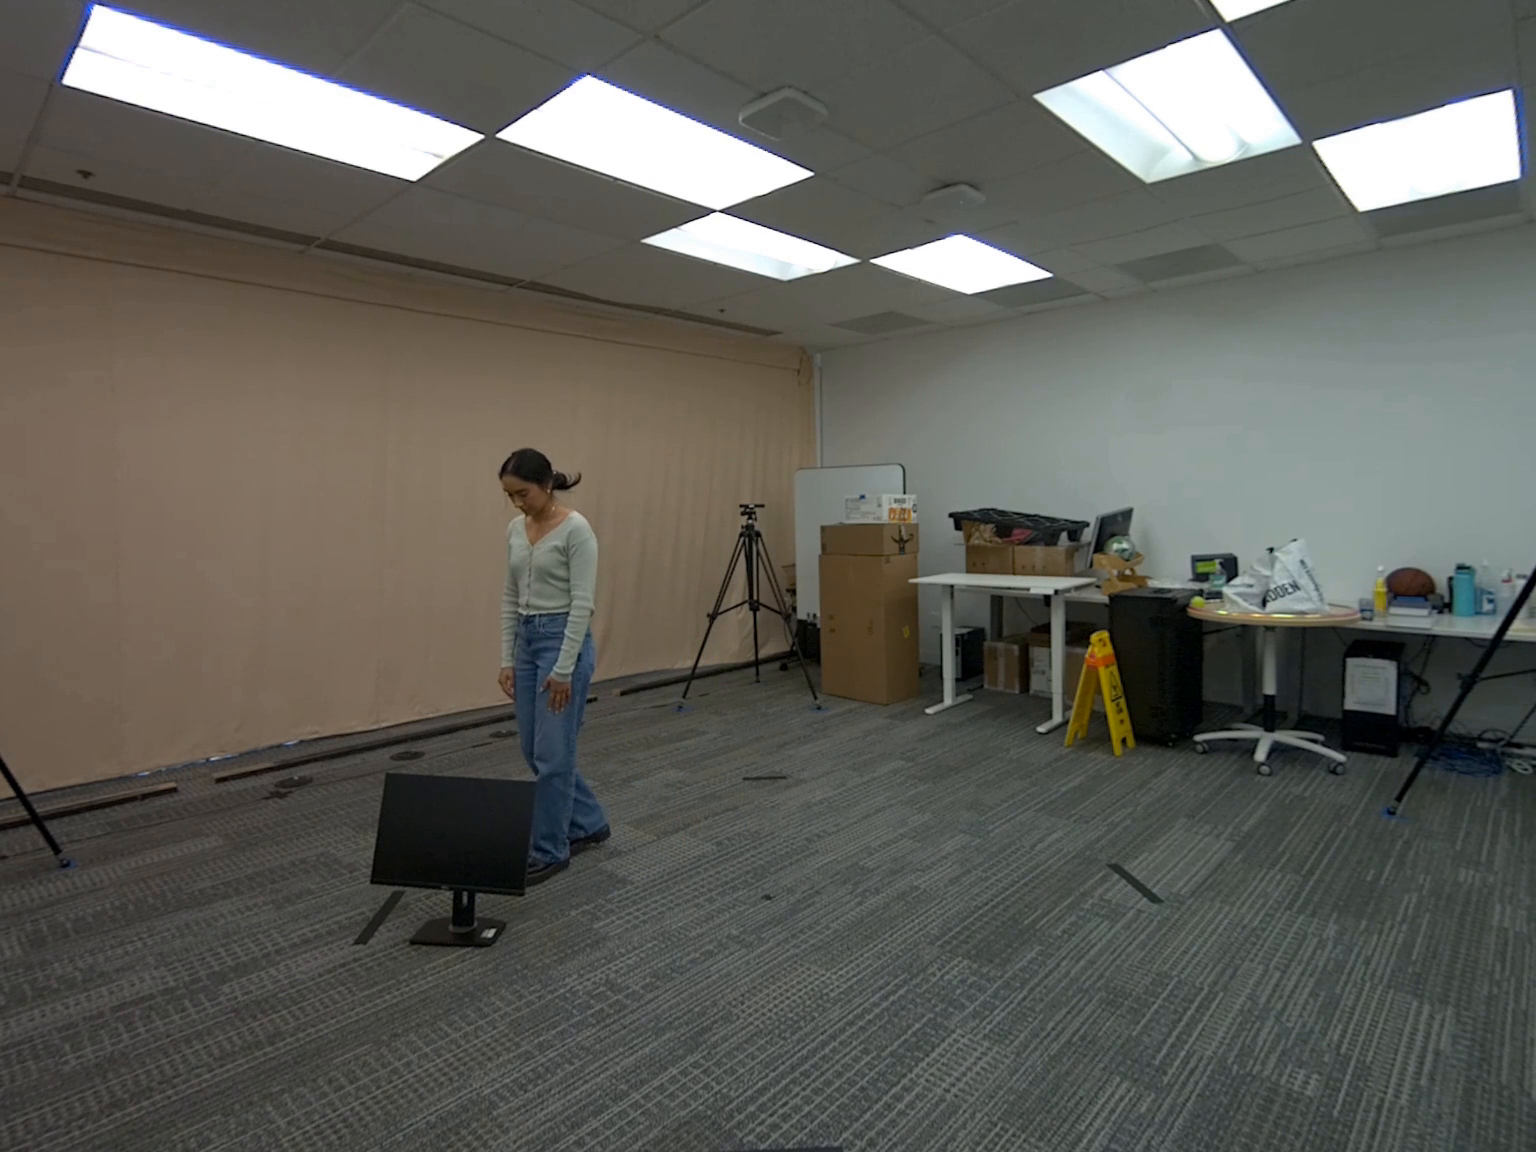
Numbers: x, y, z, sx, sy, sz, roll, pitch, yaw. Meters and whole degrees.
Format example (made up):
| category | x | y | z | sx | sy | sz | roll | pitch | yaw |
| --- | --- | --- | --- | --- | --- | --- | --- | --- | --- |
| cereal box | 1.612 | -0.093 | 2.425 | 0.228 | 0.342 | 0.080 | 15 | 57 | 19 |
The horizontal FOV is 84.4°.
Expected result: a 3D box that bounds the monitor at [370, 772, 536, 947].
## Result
| category | x | y | z | sx | sy | sz | roll | pitch | yaw |
| --- | --- | --- | --- | --- | --- | --- | --- | --- | --- |
| monitor | -1.027 | 0.915 | 2.774 | 0.535 | 0.515 | 0.173 | 1 | 4 | 9 |
